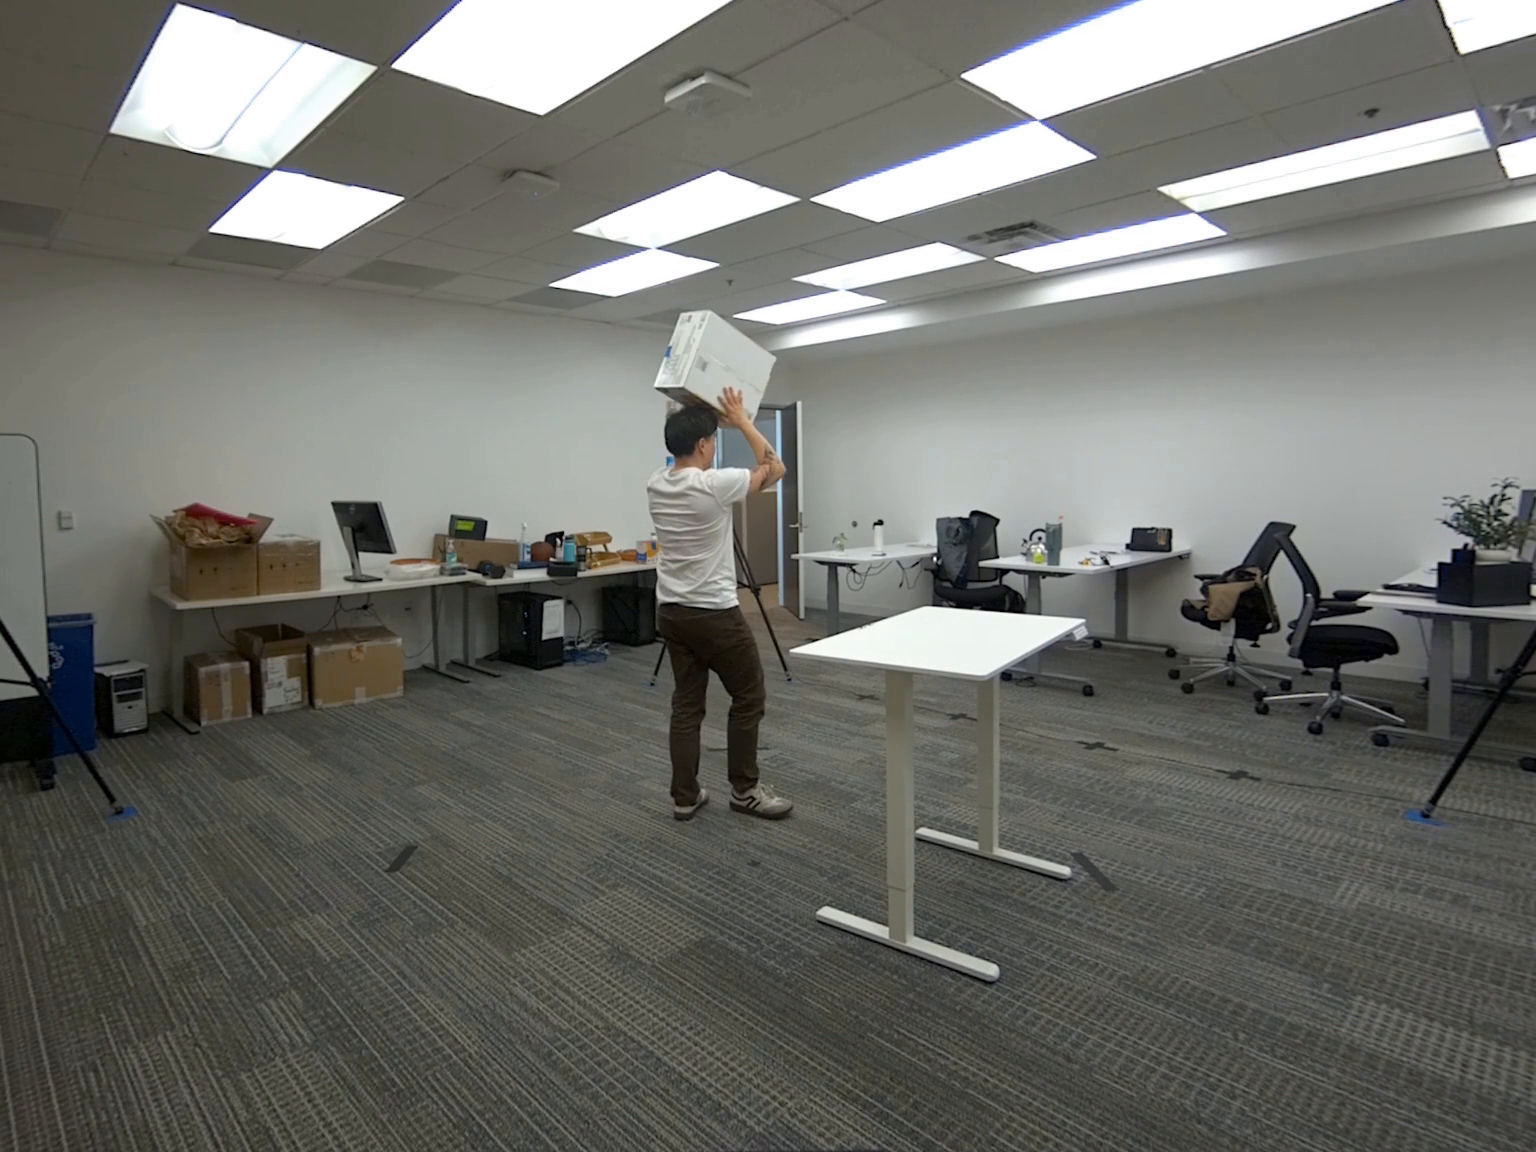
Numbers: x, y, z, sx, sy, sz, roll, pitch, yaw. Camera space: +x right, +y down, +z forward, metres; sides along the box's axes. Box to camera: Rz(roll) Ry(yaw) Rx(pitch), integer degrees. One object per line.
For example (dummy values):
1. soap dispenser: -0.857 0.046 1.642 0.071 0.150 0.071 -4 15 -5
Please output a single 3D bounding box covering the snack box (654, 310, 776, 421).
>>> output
1. snack box: -0.214 -0.851 3.564 0.390 0.342 0.213 25 -10 -42
